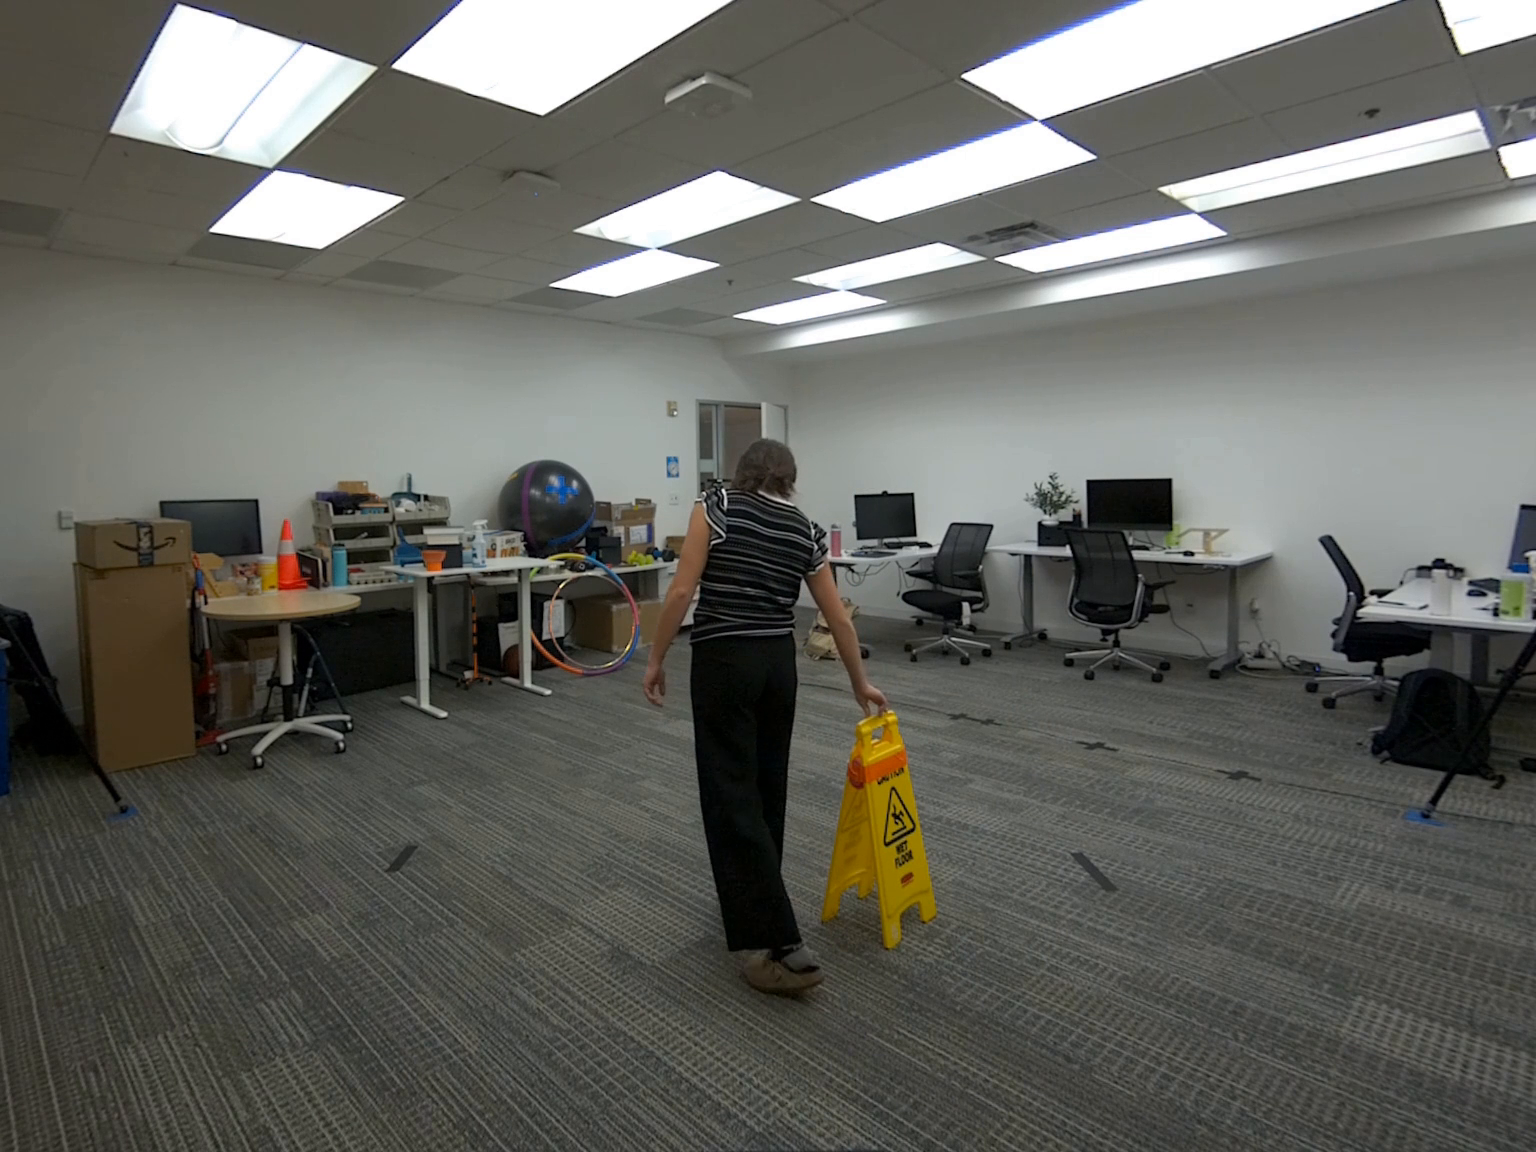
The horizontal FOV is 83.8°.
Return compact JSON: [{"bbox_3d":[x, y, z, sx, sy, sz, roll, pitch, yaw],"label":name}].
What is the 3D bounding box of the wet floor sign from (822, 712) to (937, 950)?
[{"bbox_3d":[0.351,0.760,2.681,0.298,0.643,0.275,3,6,42],"label":"wet floor sign"}]
